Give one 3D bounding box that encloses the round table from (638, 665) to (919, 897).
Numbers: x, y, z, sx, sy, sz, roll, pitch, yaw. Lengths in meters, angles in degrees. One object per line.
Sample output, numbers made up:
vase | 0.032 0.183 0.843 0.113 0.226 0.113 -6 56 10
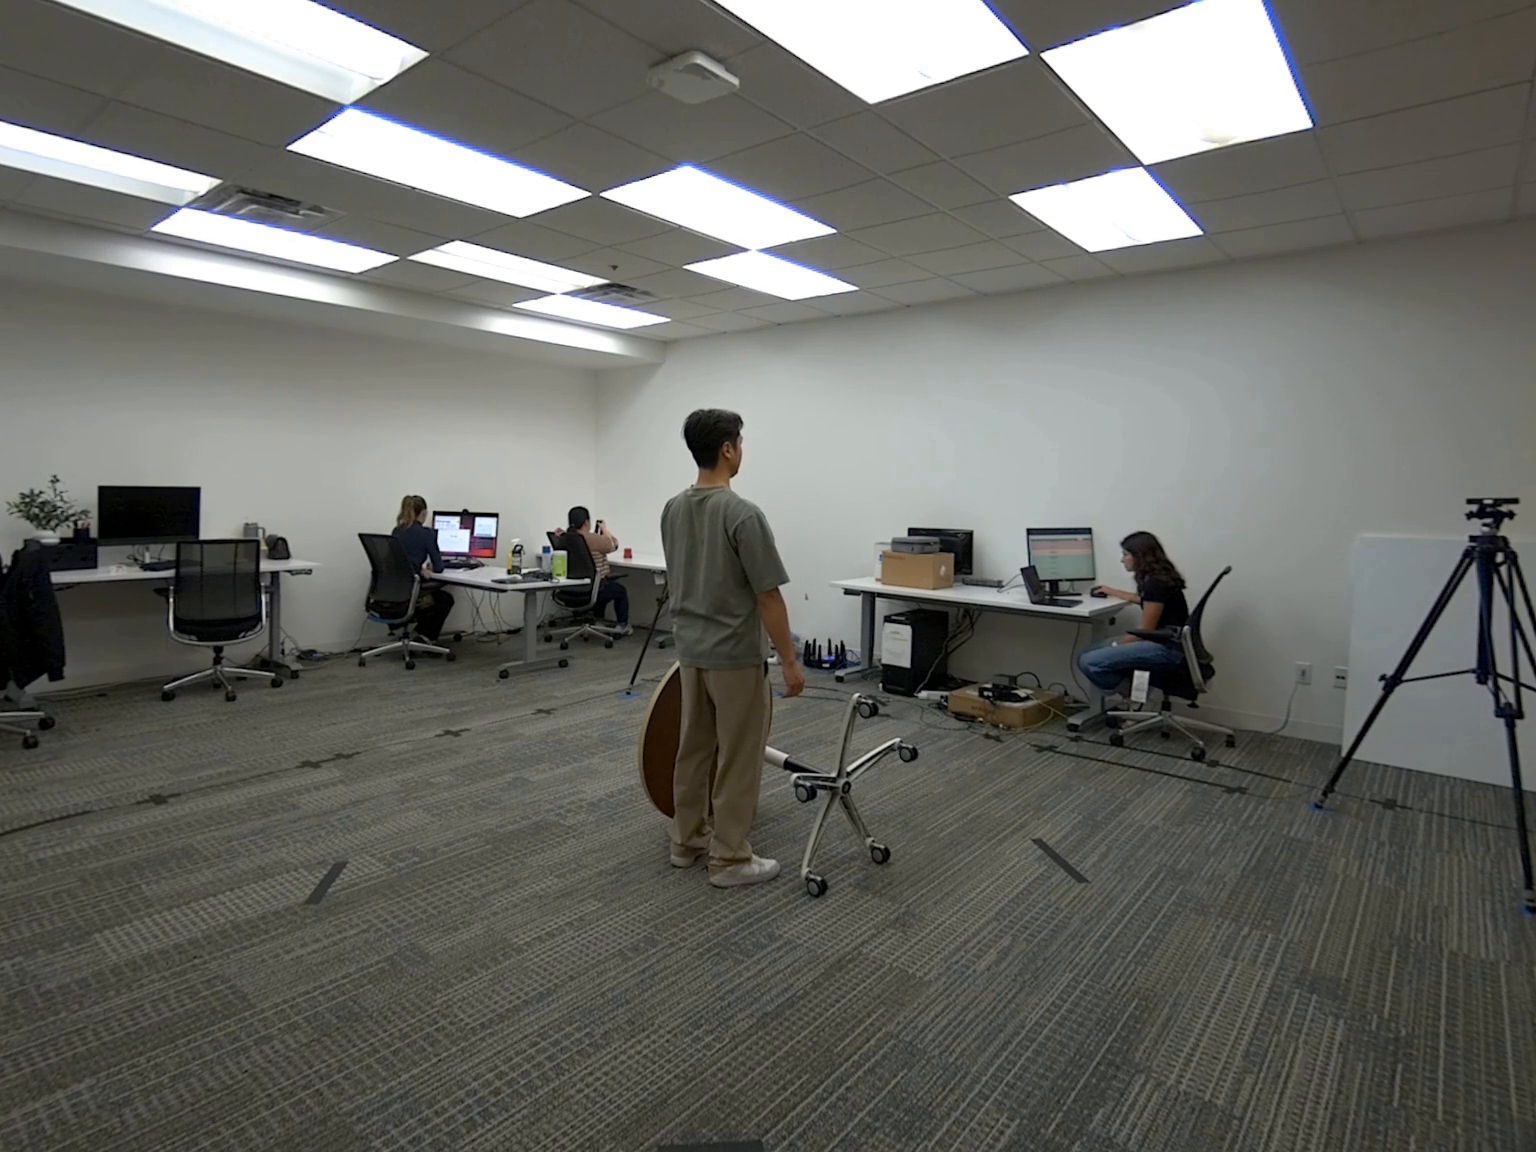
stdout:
round table | 0.045 0.709 3.291 0.816 0.780 0.761 13 11 41
